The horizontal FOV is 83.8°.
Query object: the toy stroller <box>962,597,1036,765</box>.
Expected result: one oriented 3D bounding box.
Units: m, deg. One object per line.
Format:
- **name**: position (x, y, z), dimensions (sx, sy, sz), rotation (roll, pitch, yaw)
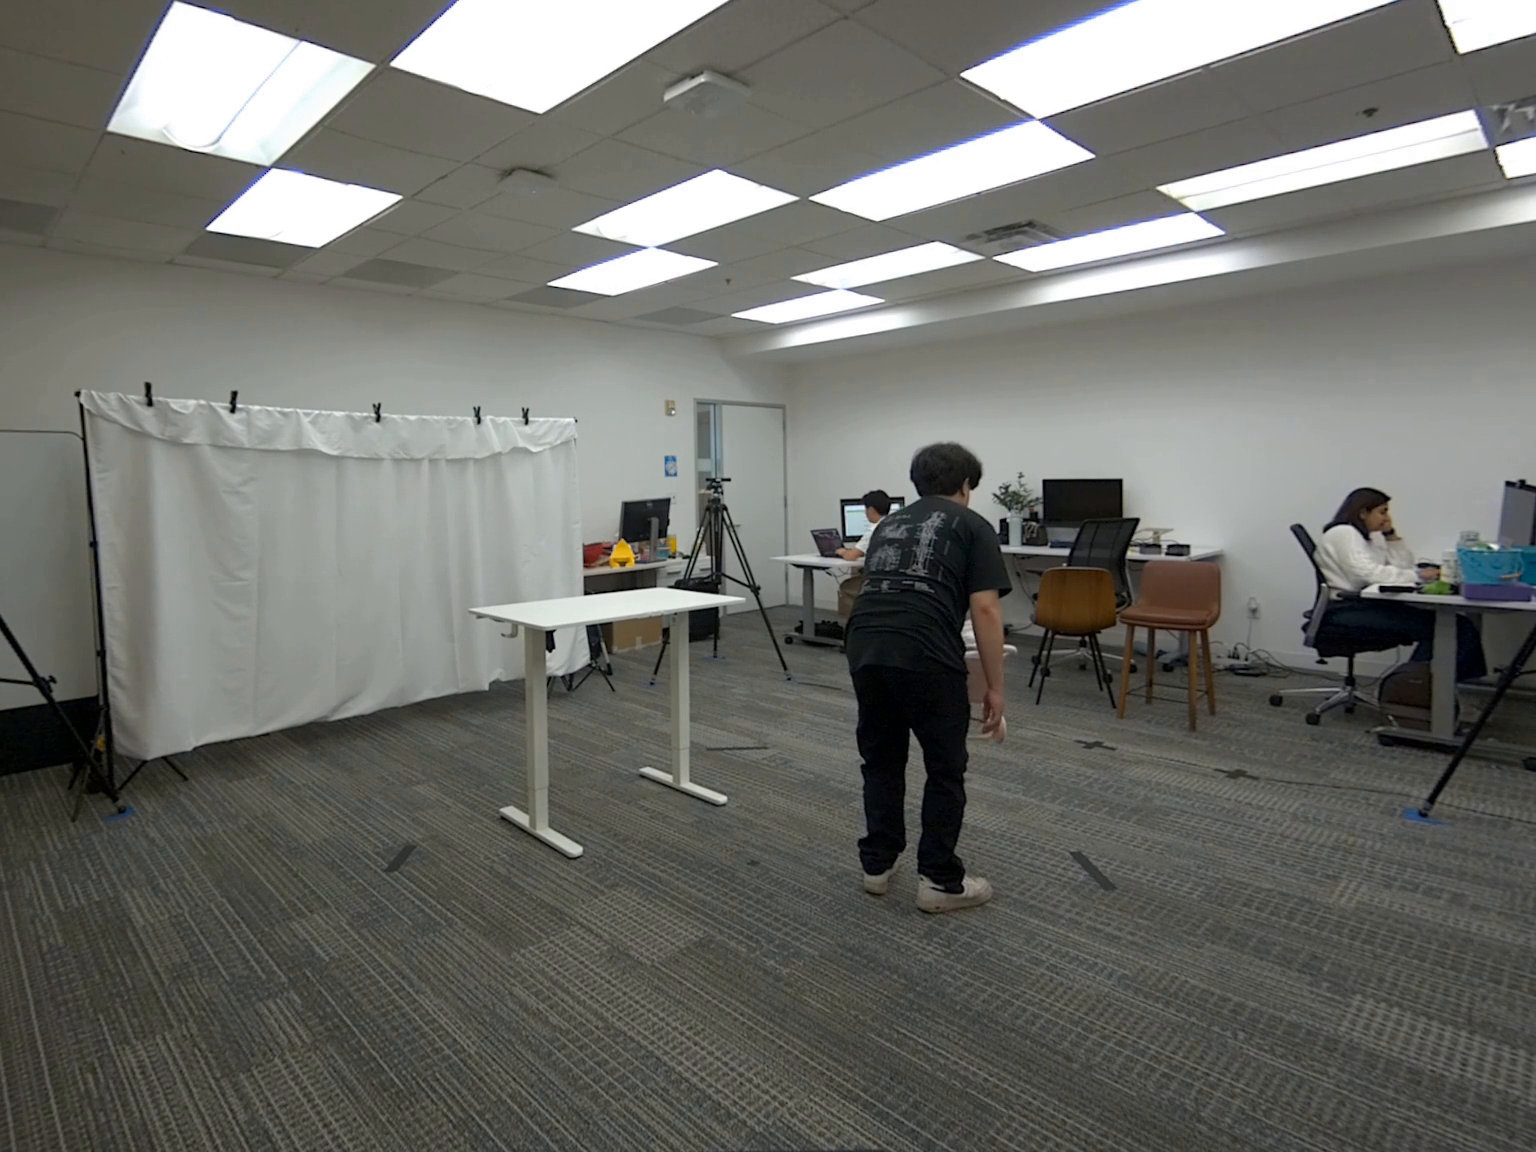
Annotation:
- **toy stroller**: position (0.765, 0.392, 3.276), dimensions (0.280, 0.524, 0.349), rotation (3, 28, -4)
